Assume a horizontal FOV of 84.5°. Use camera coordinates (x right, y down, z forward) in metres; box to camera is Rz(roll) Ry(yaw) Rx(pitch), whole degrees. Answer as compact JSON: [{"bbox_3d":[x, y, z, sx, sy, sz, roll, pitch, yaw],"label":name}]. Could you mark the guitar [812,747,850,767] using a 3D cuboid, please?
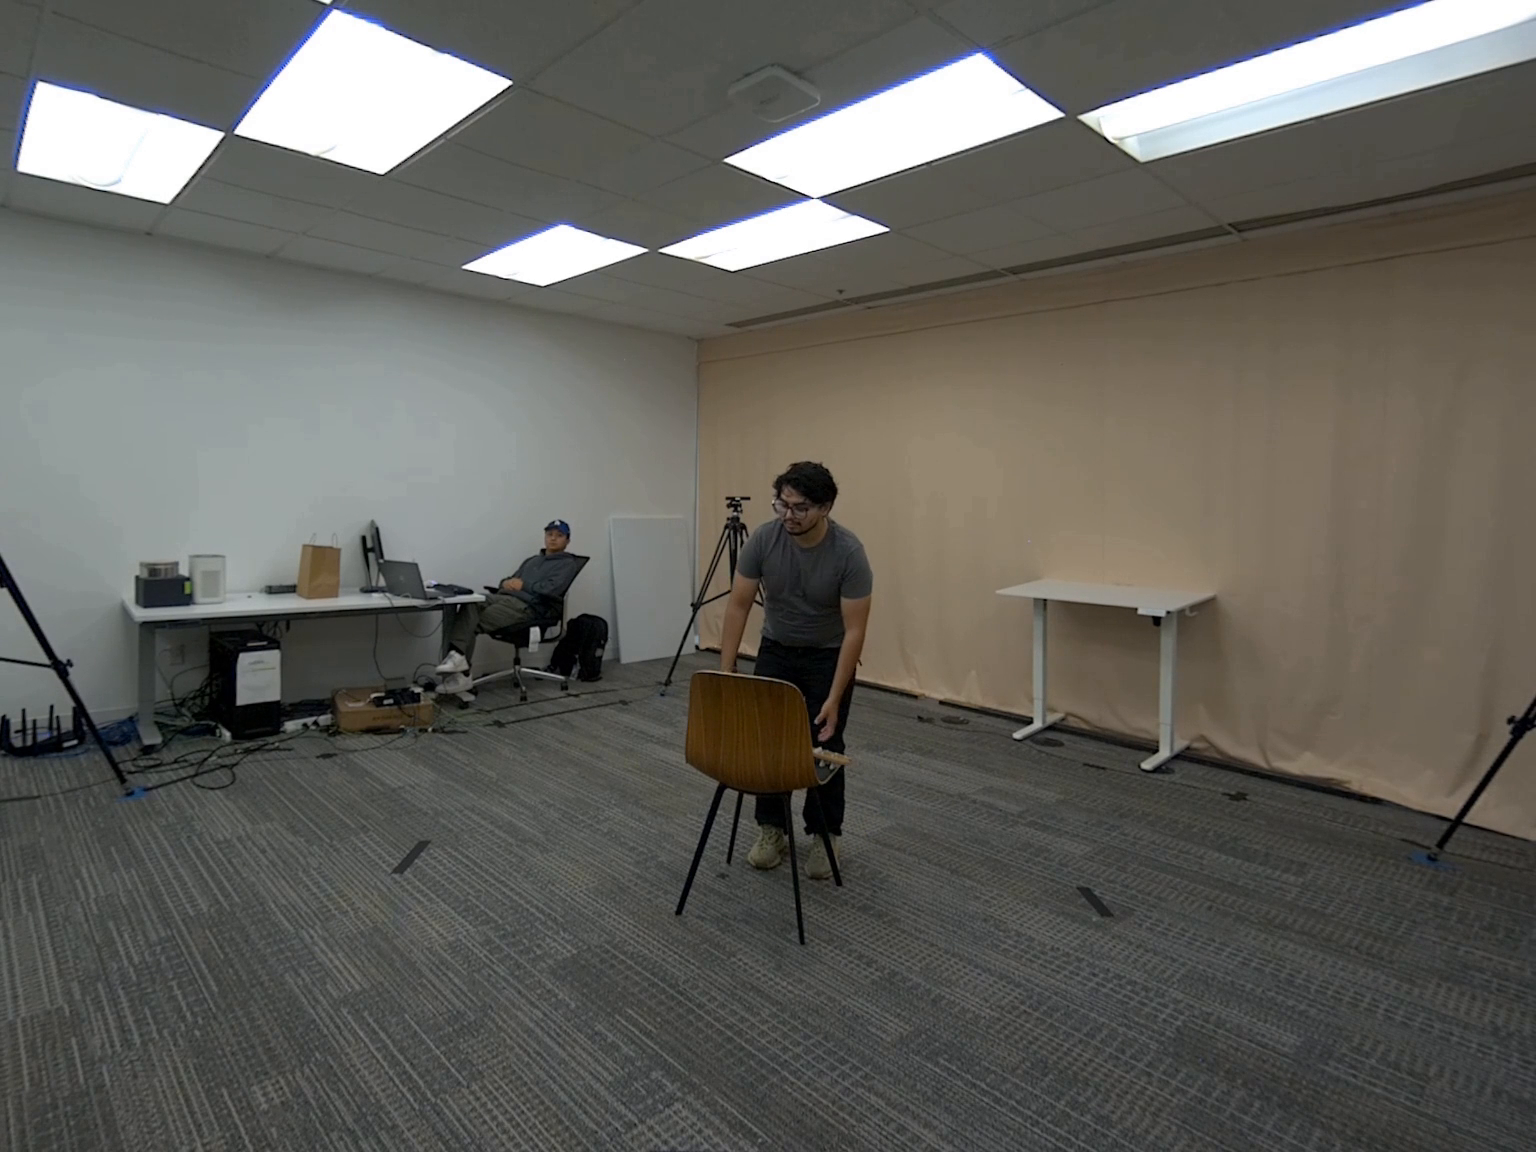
[{"bbox_3d":[0.043,0.616,2.927,0.188,0.070,0.511,-3,10,-44],"label":"guitar"}]
